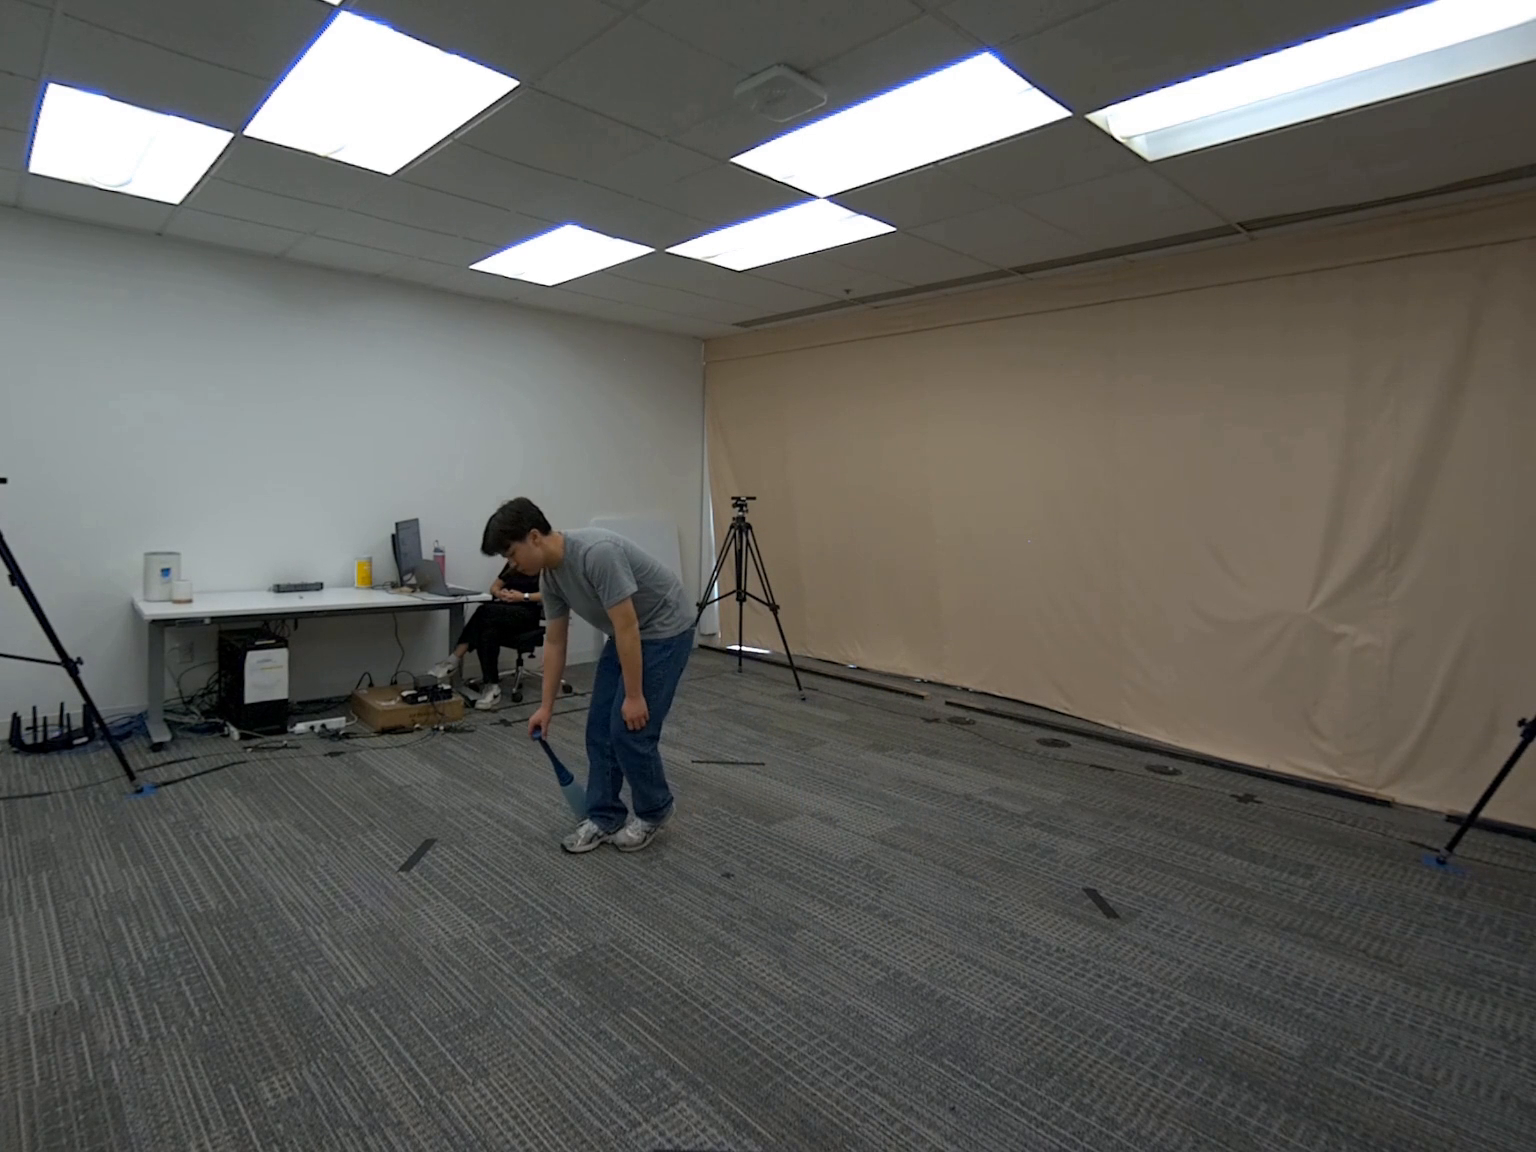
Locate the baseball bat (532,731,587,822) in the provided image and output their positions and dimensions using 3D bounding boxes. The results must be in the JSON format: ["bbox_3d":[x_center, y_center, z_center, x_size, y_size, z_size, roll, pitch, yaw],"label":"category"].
[{"bbox_3d":[-0.836,0.825,3.446,0.089,0.529,0.091,-13,34,8],"label":"baseball bat"}]
